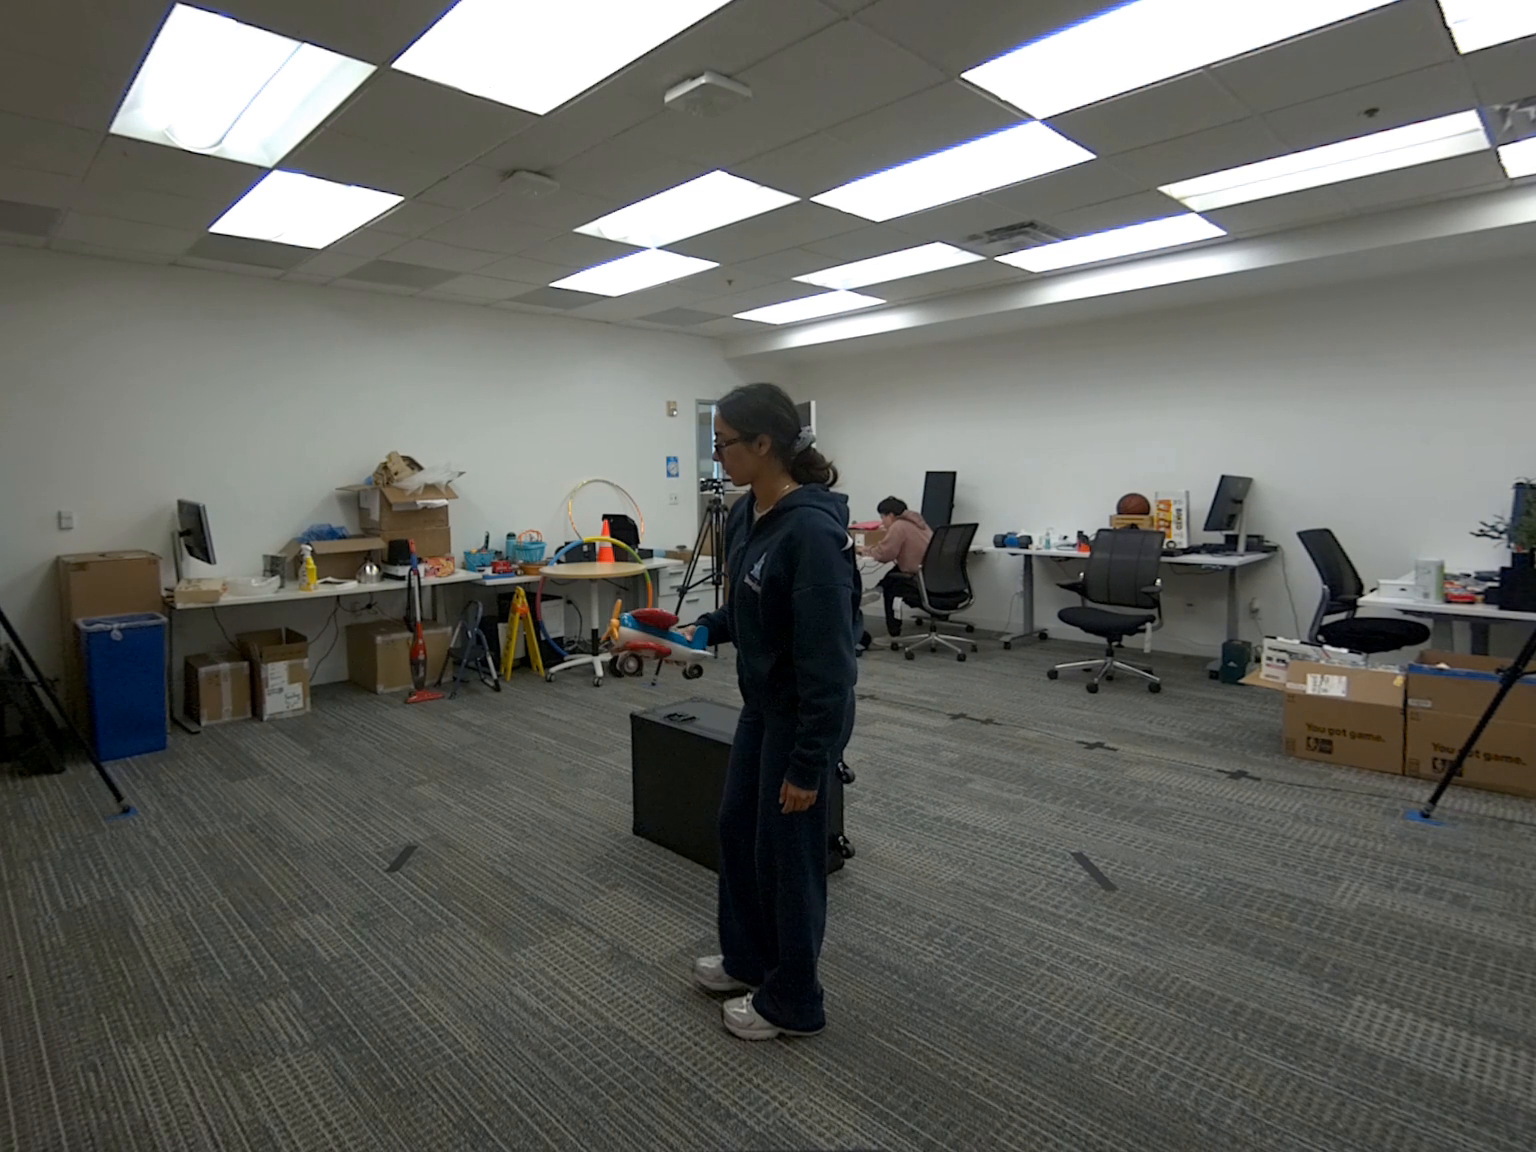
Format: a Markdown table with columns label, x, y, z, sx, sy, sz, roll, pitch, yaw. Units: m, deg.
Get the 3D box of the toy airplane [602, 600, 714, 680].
| label | x | y | z | sx | sy | sz | roll | pitch | yaw |
| --- | --- | --- | --- | --- | --- | --- | --- | --- | --- |
| toy airplane | -0.271 | 0.173 | 2.061 | 0.257 | 0.158 | 0.251 | -8 | -12 | 35 |
